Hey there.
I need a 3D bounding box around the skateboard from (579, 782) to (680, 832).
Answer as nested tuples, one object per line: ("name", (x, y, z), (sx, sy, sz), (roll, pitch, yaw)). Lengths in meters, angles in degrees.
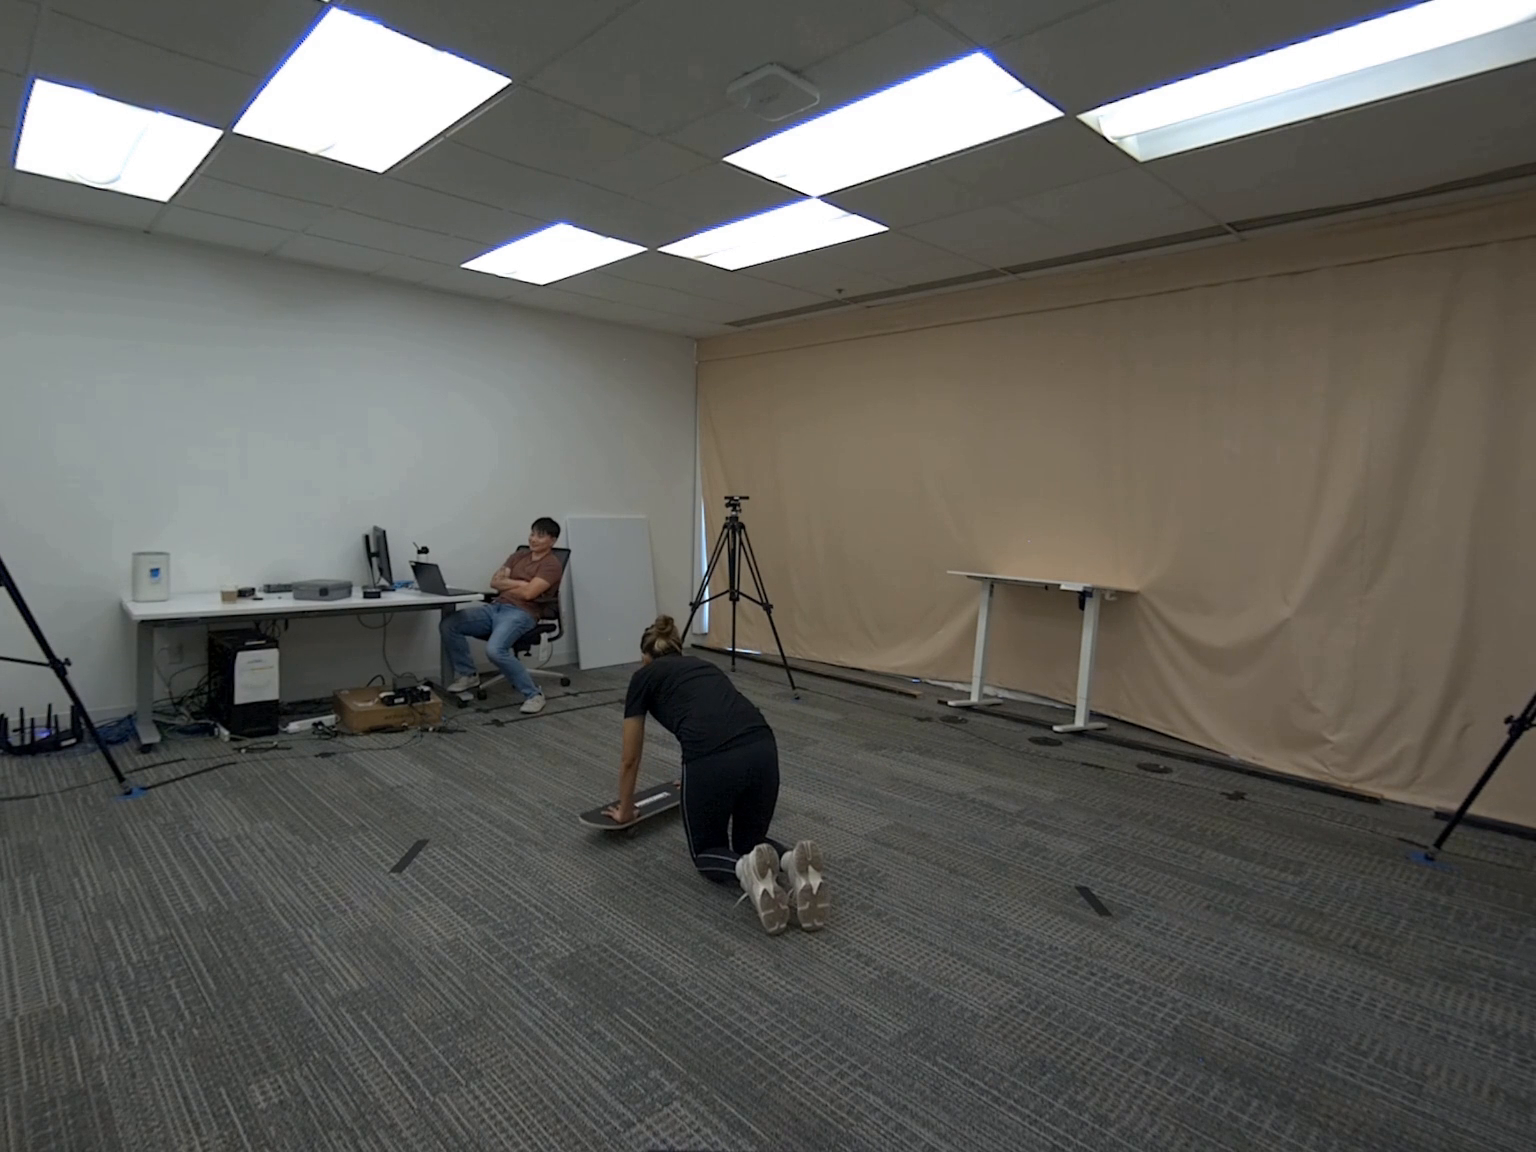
("skateboard", (-0.504, 0.993, 3.619), (0.198, 0.110, 0.769), (7, 7, 34))
